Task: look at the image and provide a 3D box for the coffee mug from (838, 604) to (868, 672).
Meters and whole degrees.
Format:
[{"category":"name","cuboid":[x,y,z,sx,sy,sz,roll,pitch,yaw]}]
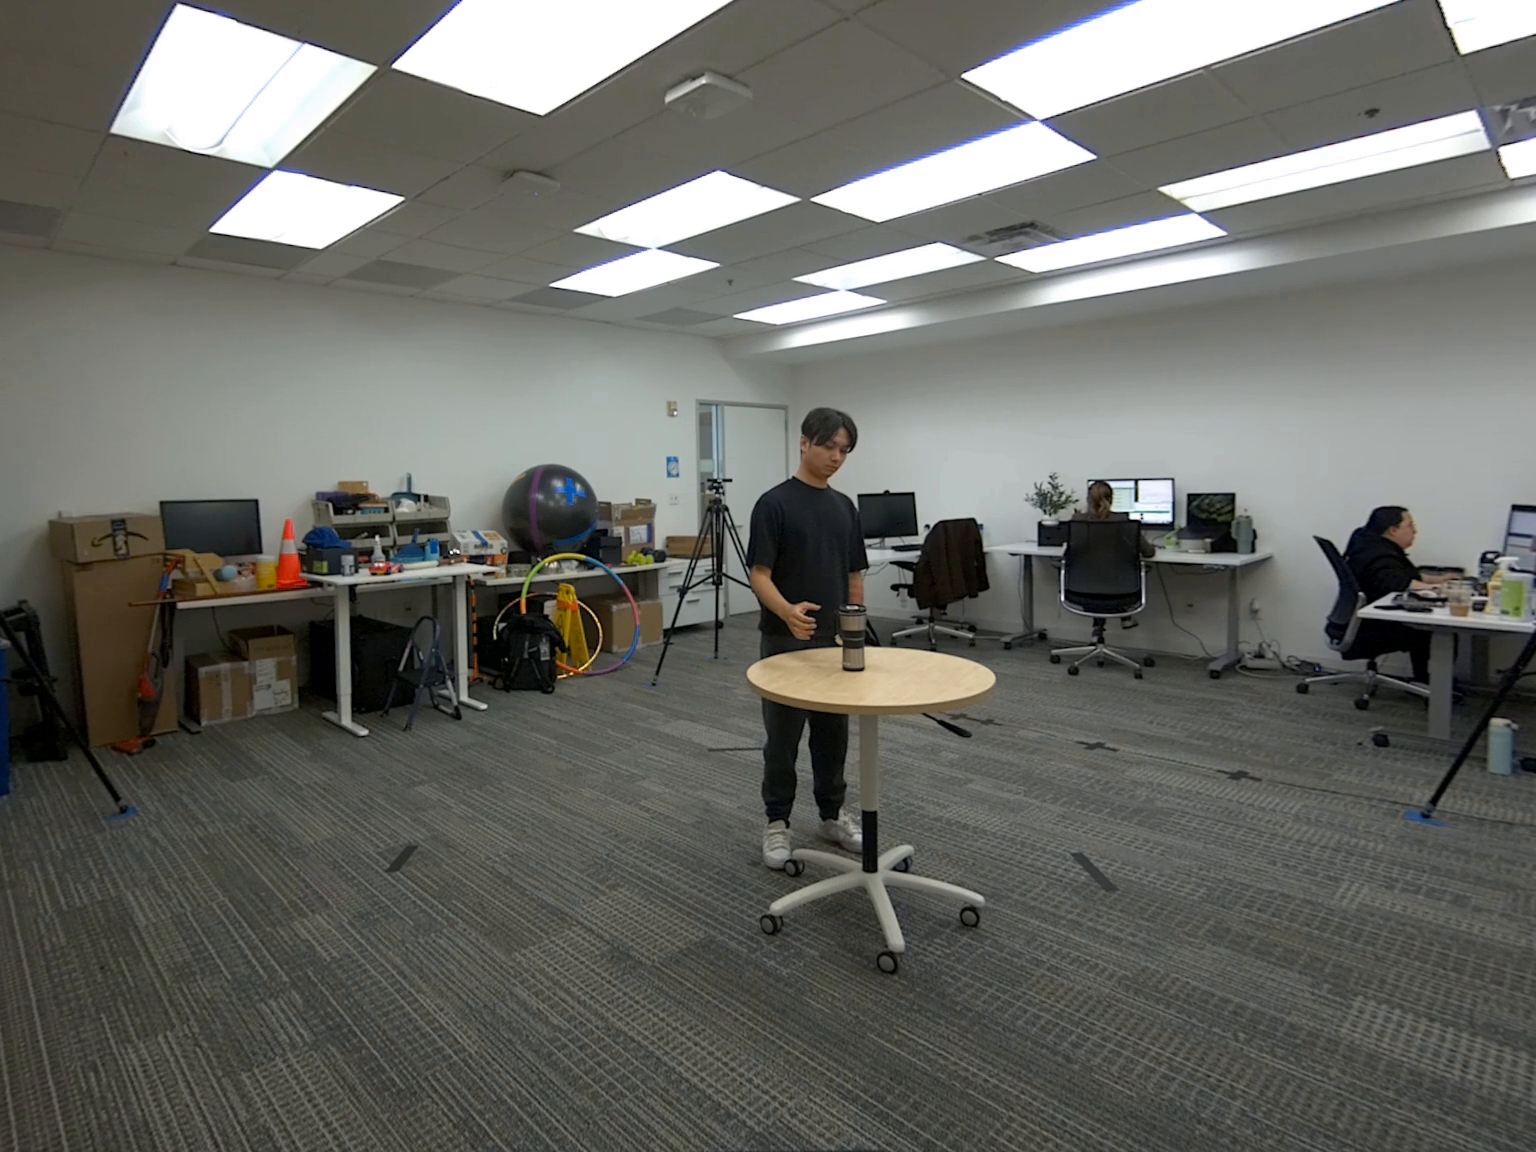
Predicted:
[{"category":"coffee mug","cuboid":[0.263,0.199,2.746,0.086,0.201,0.125,-7,9,-24]}]
